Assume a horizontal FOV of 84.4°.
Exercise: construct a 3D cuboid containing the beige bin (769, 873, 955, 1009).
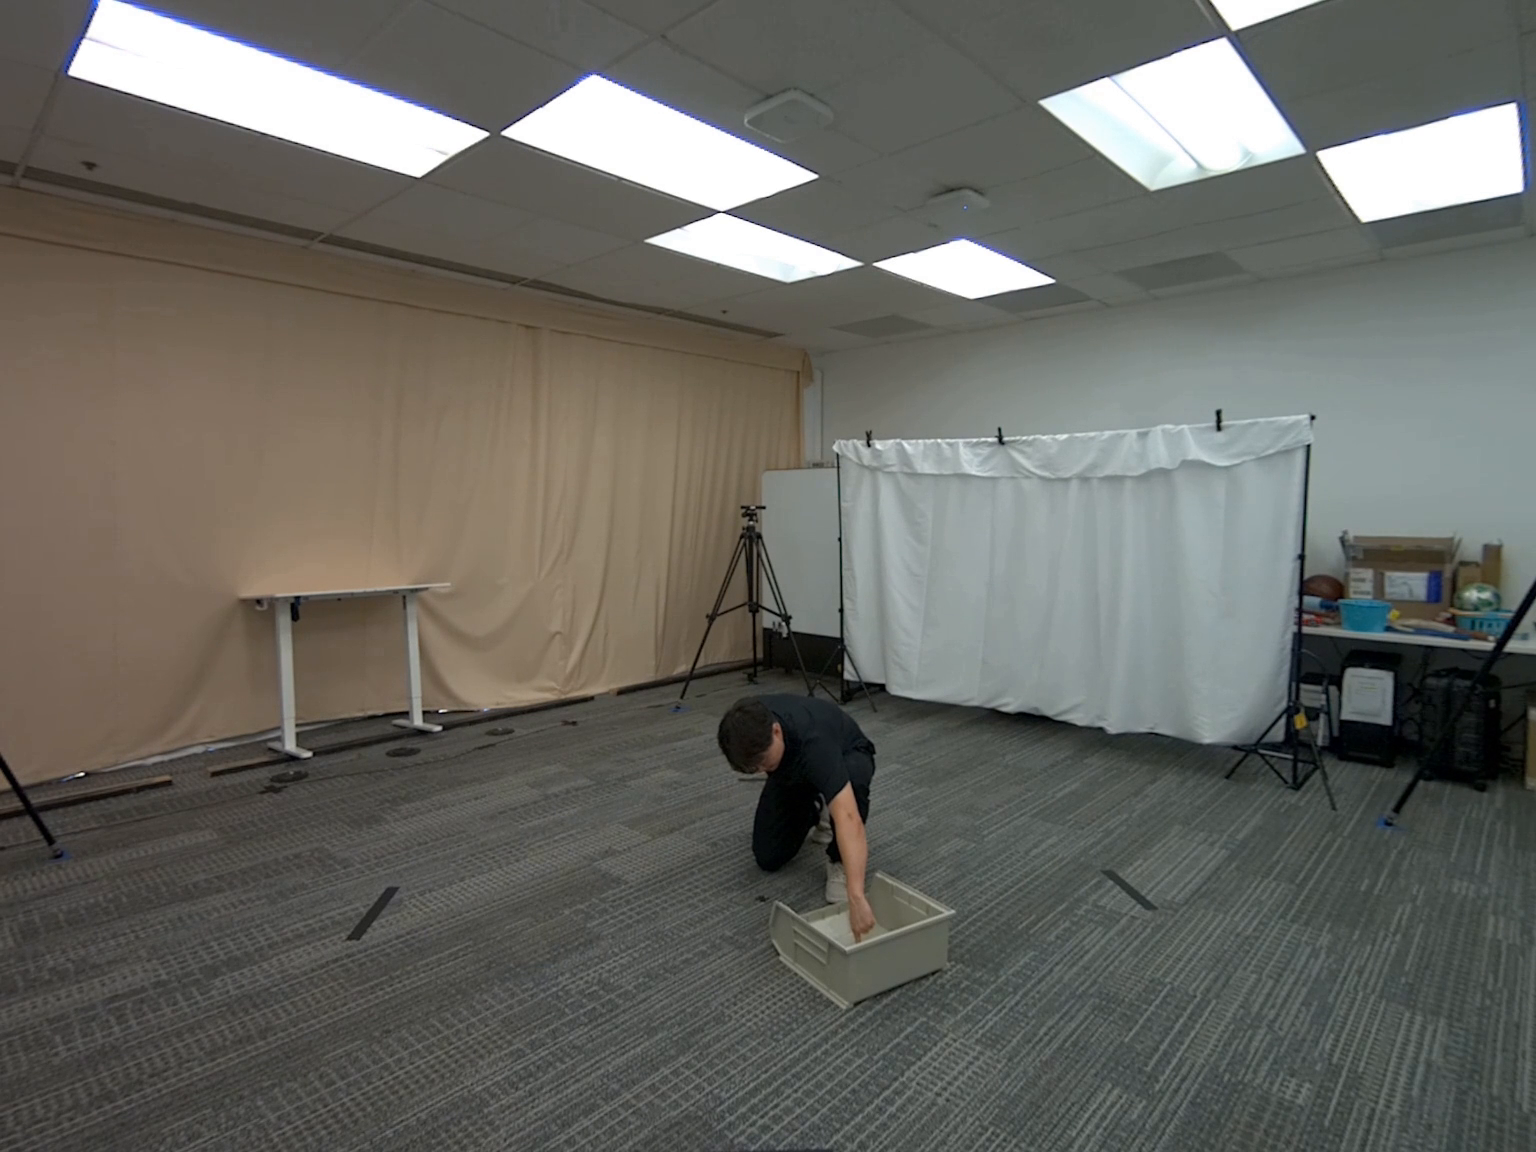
[{"bbox_3d":[0.280,1.083,2.573,0.410,0.188,0.389,-2,5,-33],"label":"beige bin"}]
